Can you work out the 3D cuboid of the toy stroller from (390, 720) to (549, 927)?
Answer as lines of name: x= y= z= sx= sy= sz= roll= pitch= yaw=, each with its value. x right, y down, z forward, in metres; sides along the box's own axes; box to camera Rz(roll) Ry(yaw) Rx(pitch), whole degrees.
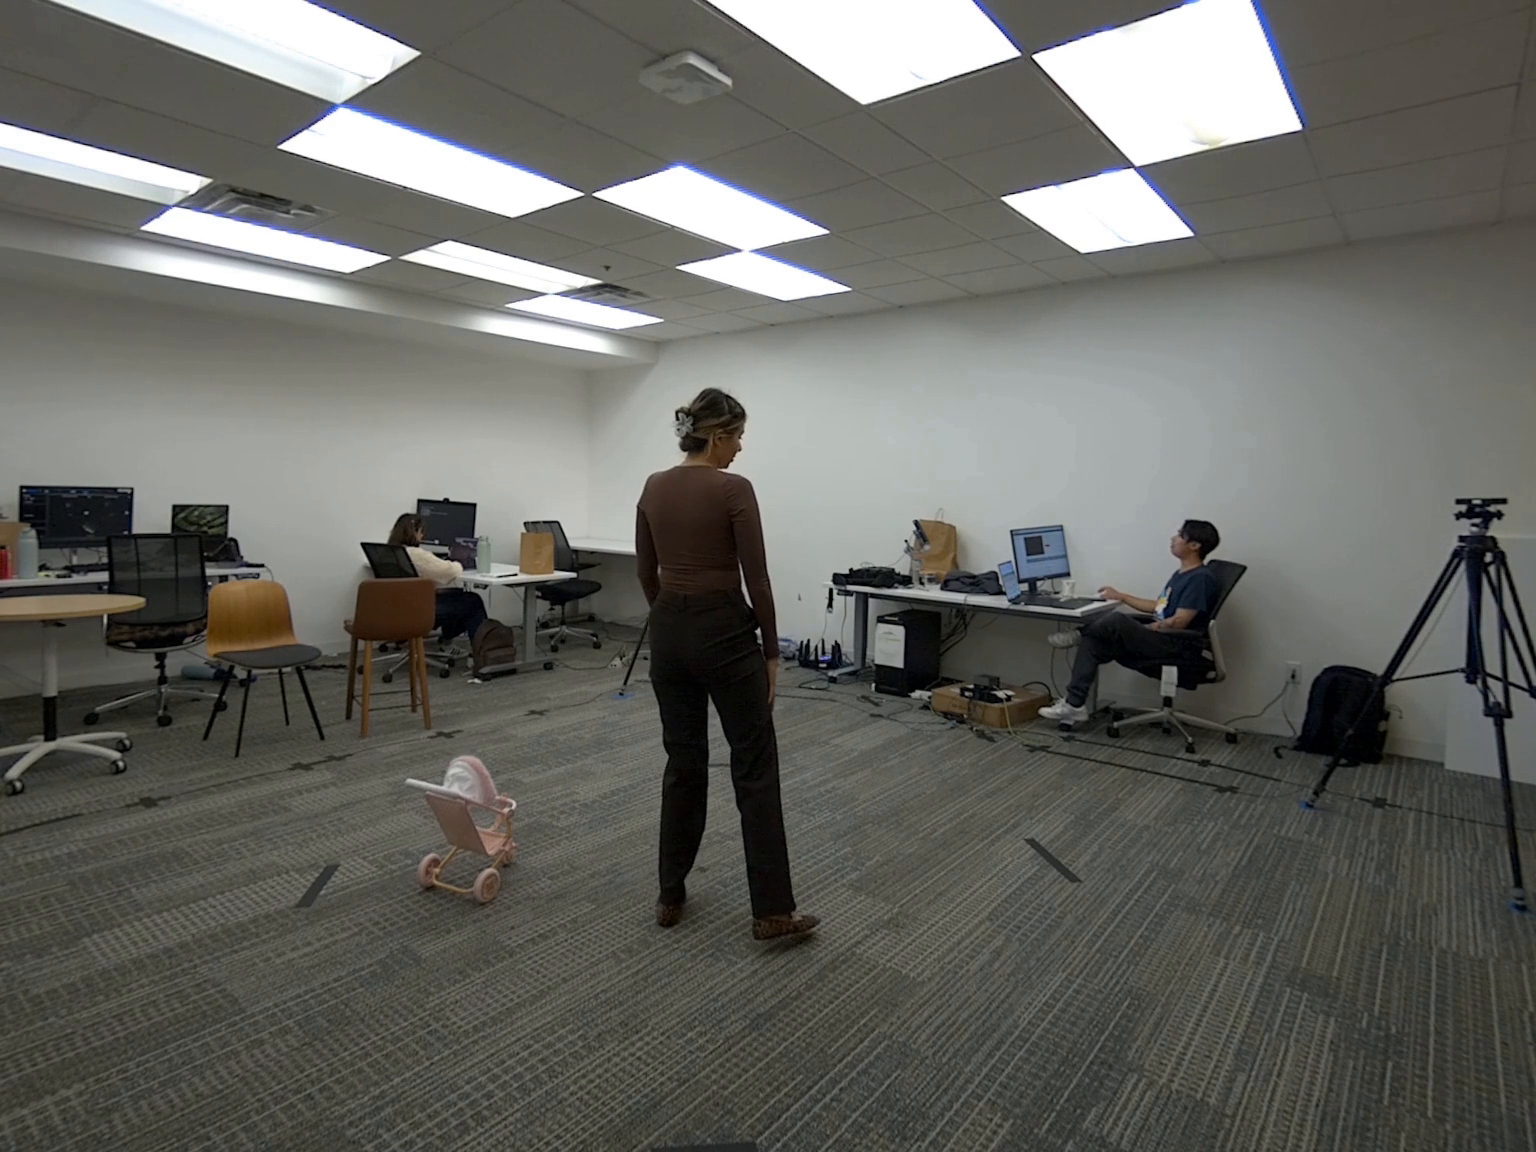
toy stroller: x=-1.027 y=0.846 z=2.931 sx=0.289 sy=0.525 sz=0.338 roll=4 pitch=21 yaw=27
